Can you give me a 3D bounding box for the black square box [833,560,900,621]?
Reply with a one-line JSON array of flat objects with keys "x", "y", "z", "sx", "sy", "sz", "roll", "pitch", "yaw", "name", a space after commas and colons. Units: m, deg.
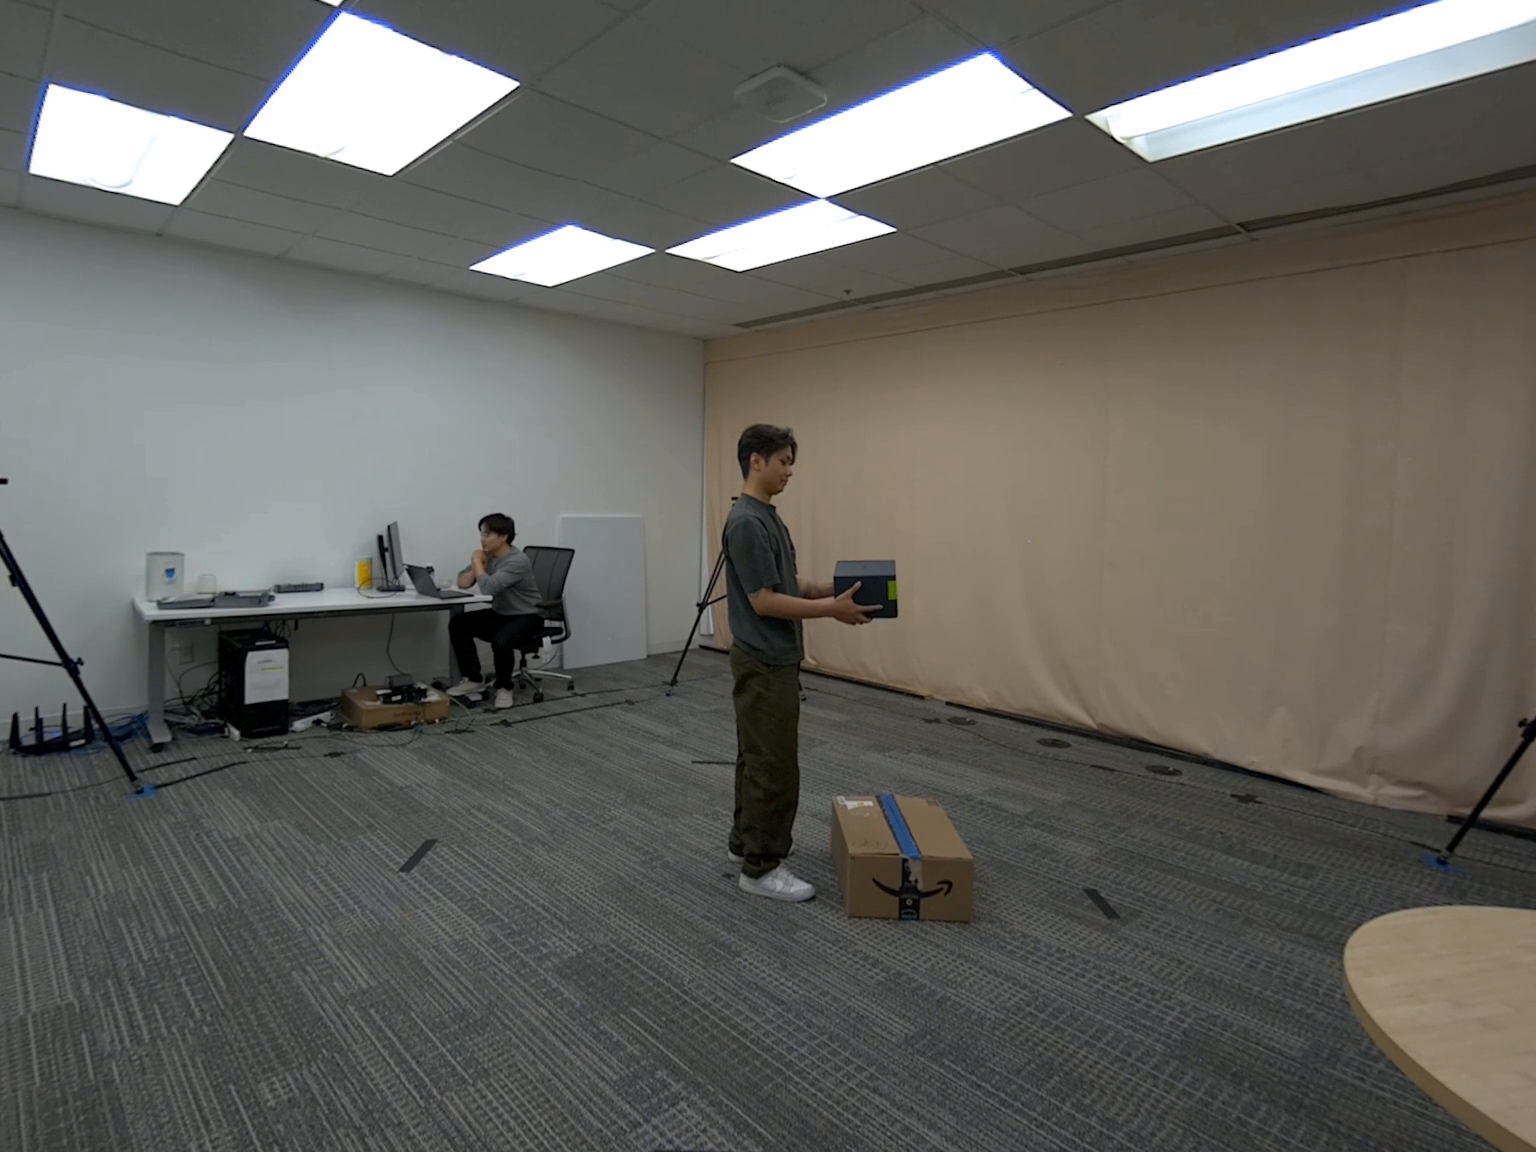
[{"x": 0.349, "y": 0.047, "z": 2.989, "sx": 0.219, "sy": 0.155, "sz": 0.228, "roll": -2, "pitch": 10, "yaw": 10, "name": "black square box"}]
